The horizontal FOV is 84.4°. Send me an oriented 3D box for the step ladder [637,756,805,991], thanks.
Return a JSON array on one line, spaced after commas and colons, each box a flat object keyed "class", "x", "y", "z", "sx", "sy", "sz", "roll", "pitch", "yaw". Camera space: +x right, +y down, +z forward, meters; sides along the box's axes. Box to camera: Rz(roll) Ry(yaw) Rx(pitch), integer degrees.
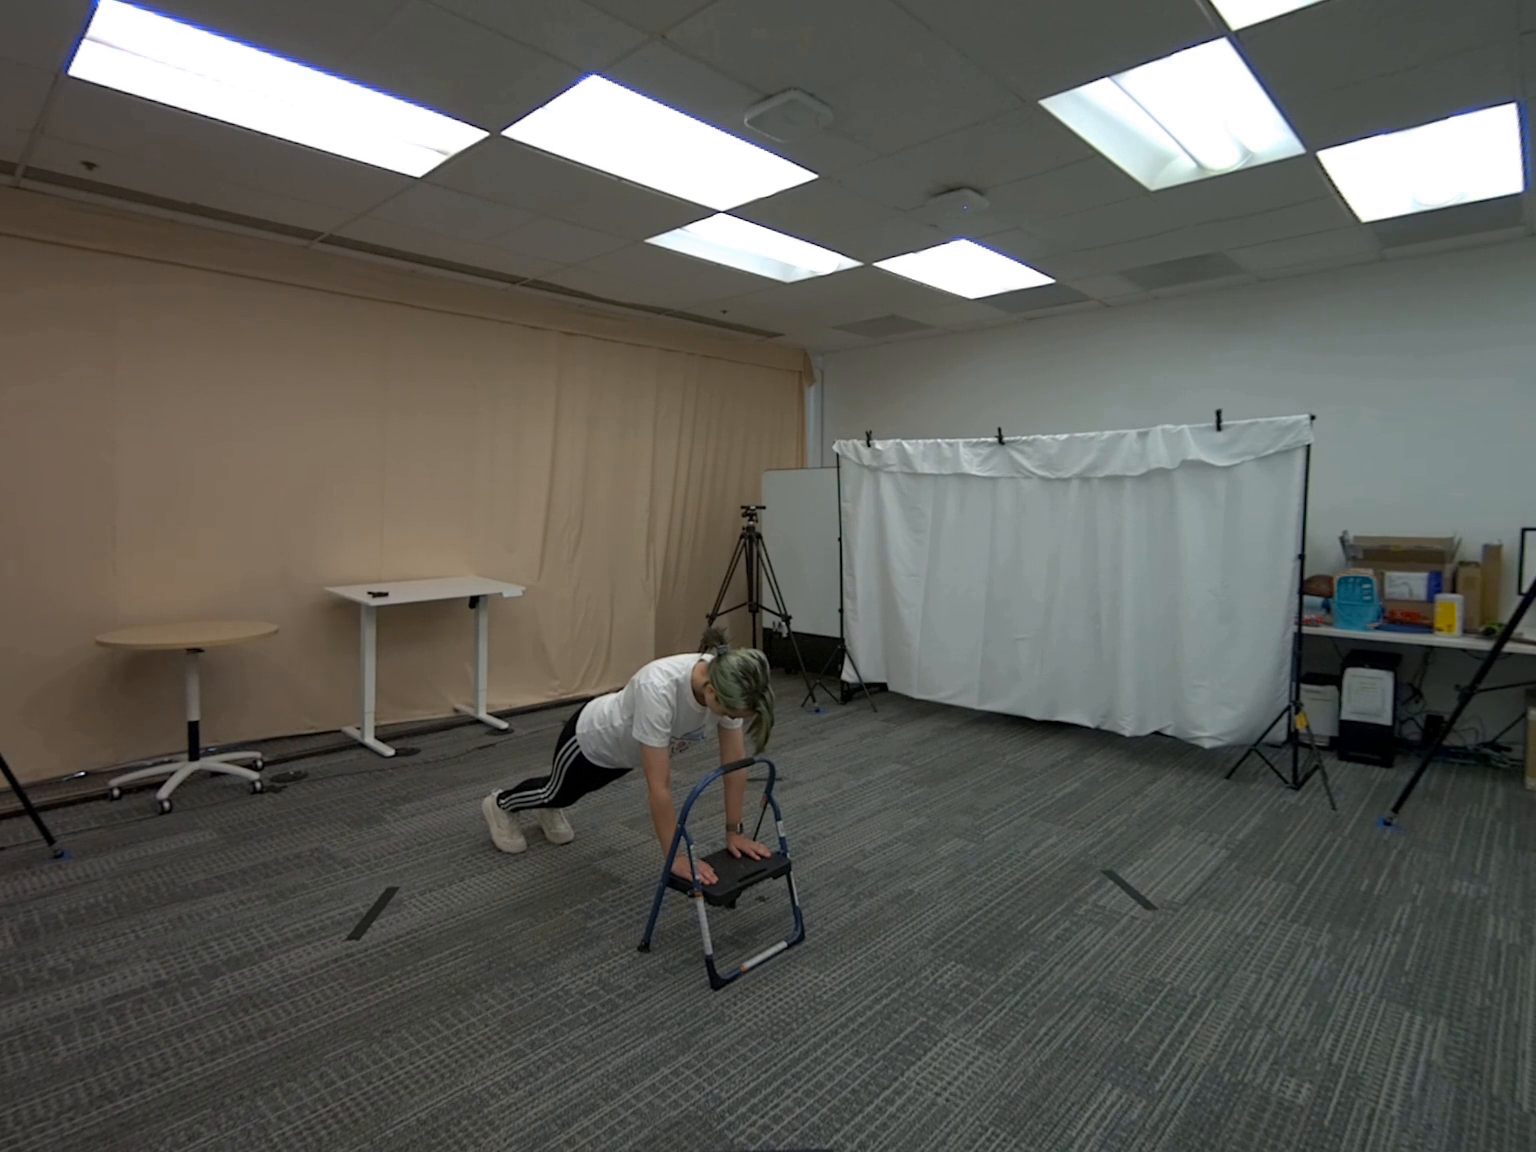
[{"class": "step ladder", "x": -0.139, "y": 0.870, "z": 2.661, "sx": 0.361, "sy": 0.605, "sz": 0.417, "roll": 3, "pitch": 4, "yaw": 42}]
